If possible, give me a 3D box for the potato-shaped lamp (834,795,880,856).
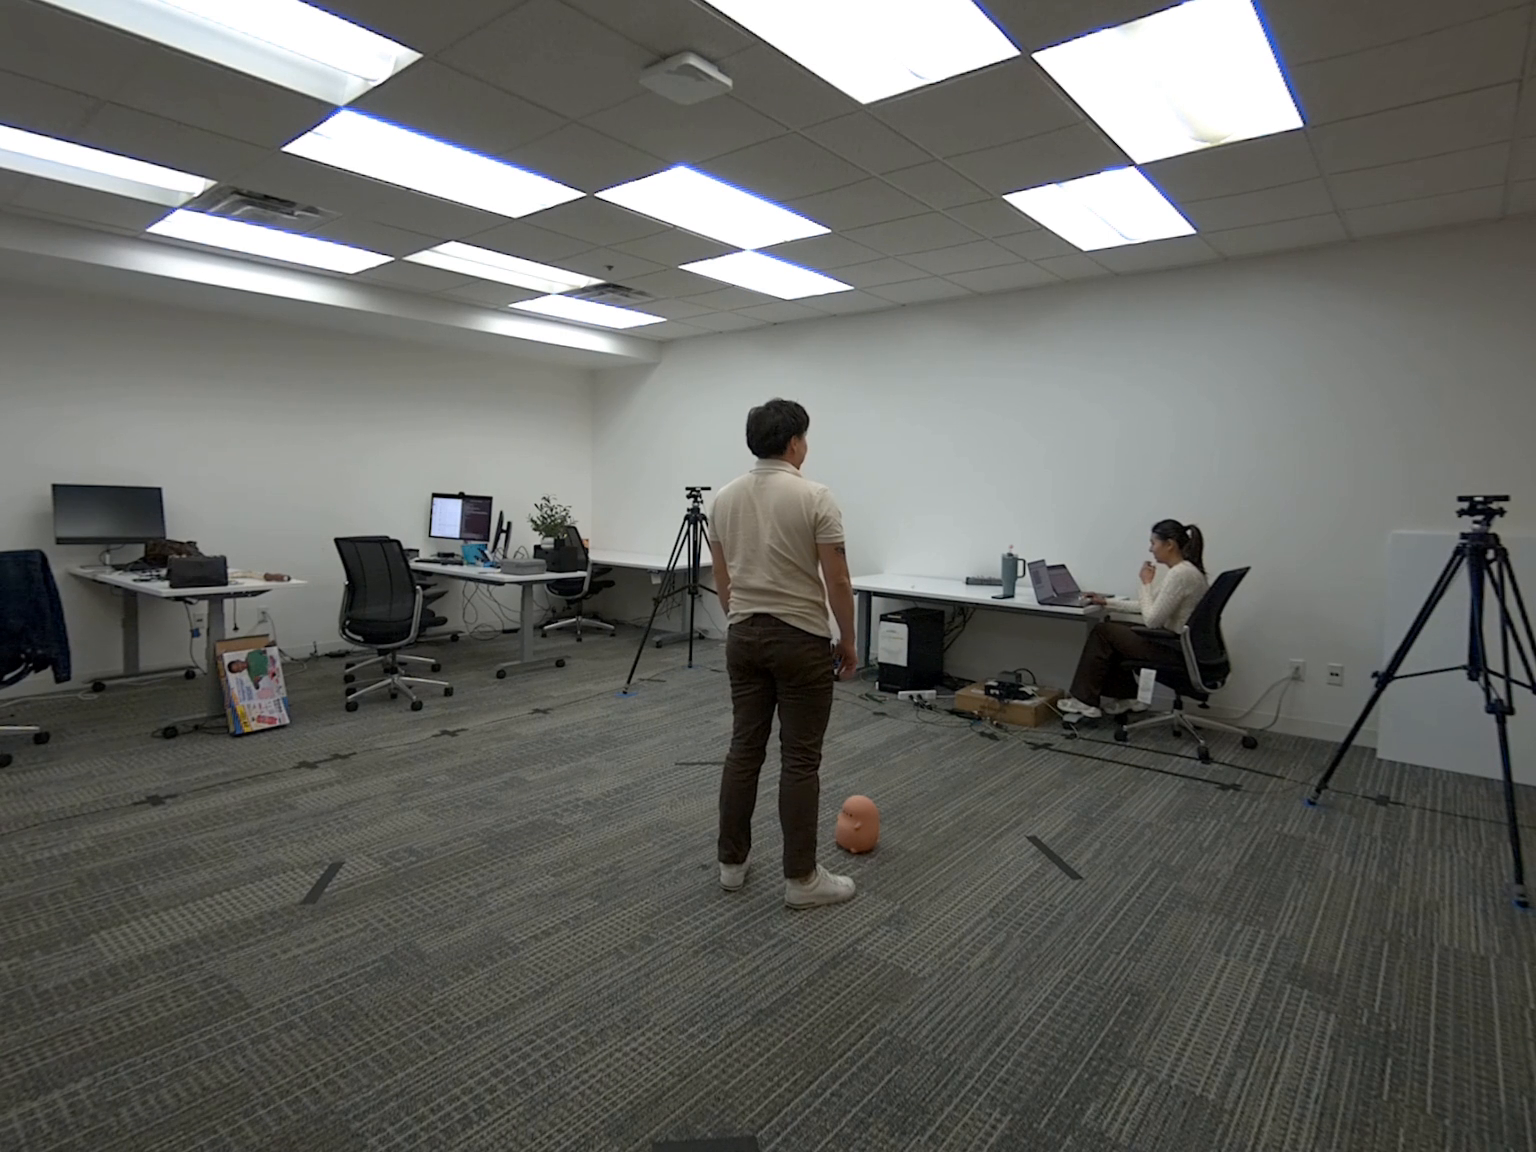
[{"bbox_3d":[0.345,0.955,3.325,0.167,0.197,0.170,0,6,-30],"label":"potato-shaped lamp"}]
